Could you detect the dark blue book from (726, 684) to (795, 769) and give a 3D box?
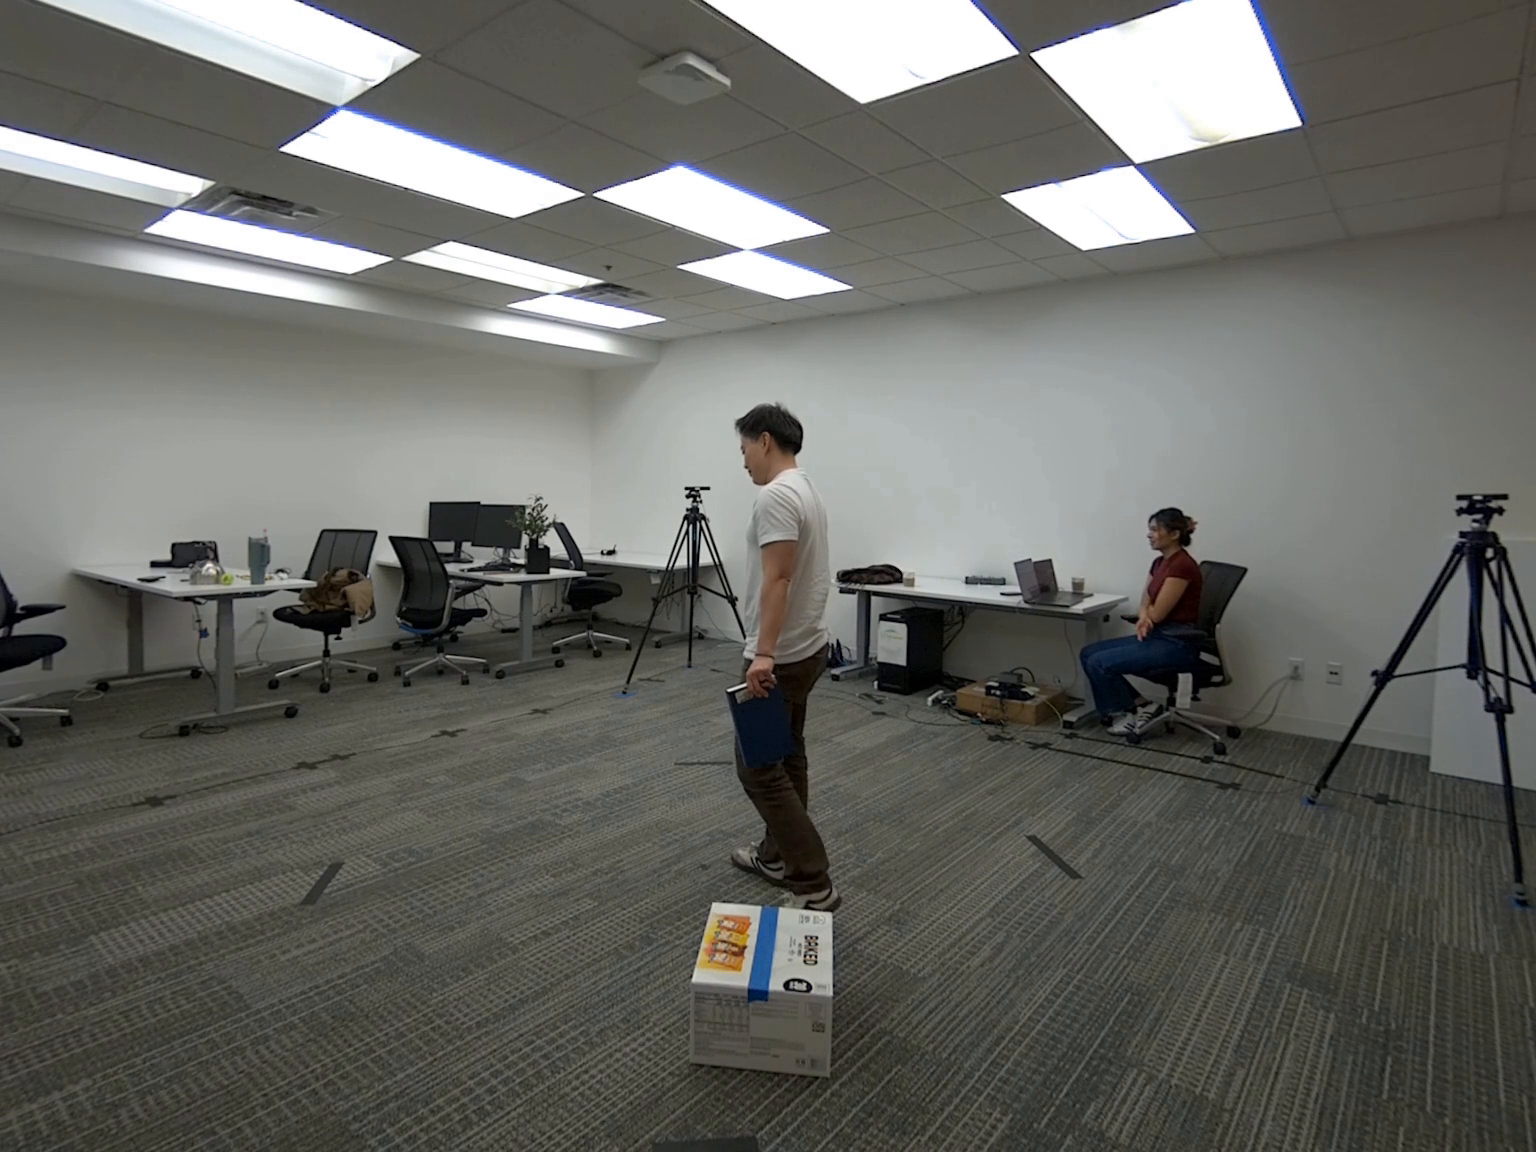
[{"bbox_3d":[-0.036,0.435,2.592,0.161,0.243,0.046,-15,8,-17],"label":"dark blue book"}]
